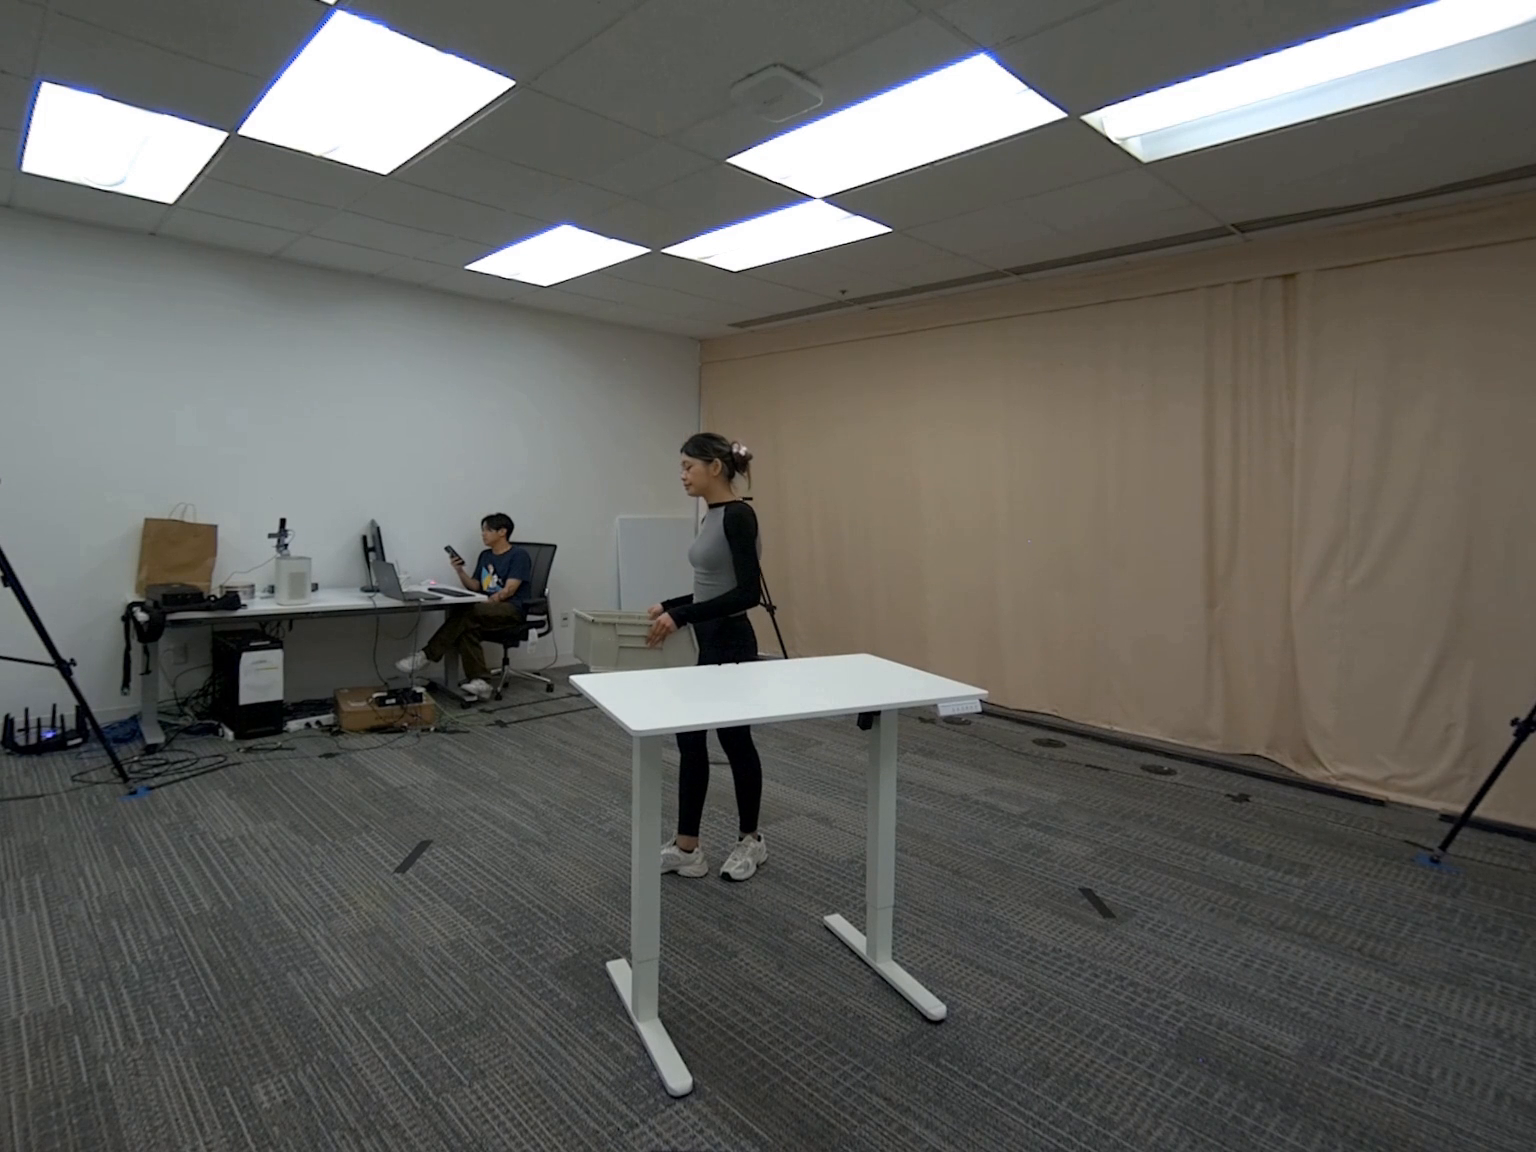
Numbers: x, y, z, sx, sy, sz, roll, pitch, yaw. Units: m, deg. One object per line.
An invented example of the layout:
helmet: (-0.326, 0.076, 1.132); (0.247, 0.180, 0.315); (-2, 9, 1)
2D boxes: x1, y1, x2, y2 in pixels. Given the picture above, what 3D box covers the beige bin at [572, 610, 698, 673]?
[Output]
beige bin: (-0.489, 0.231, 3.008); (0.371, 0.189, 0.429); (2, 2, -21)
